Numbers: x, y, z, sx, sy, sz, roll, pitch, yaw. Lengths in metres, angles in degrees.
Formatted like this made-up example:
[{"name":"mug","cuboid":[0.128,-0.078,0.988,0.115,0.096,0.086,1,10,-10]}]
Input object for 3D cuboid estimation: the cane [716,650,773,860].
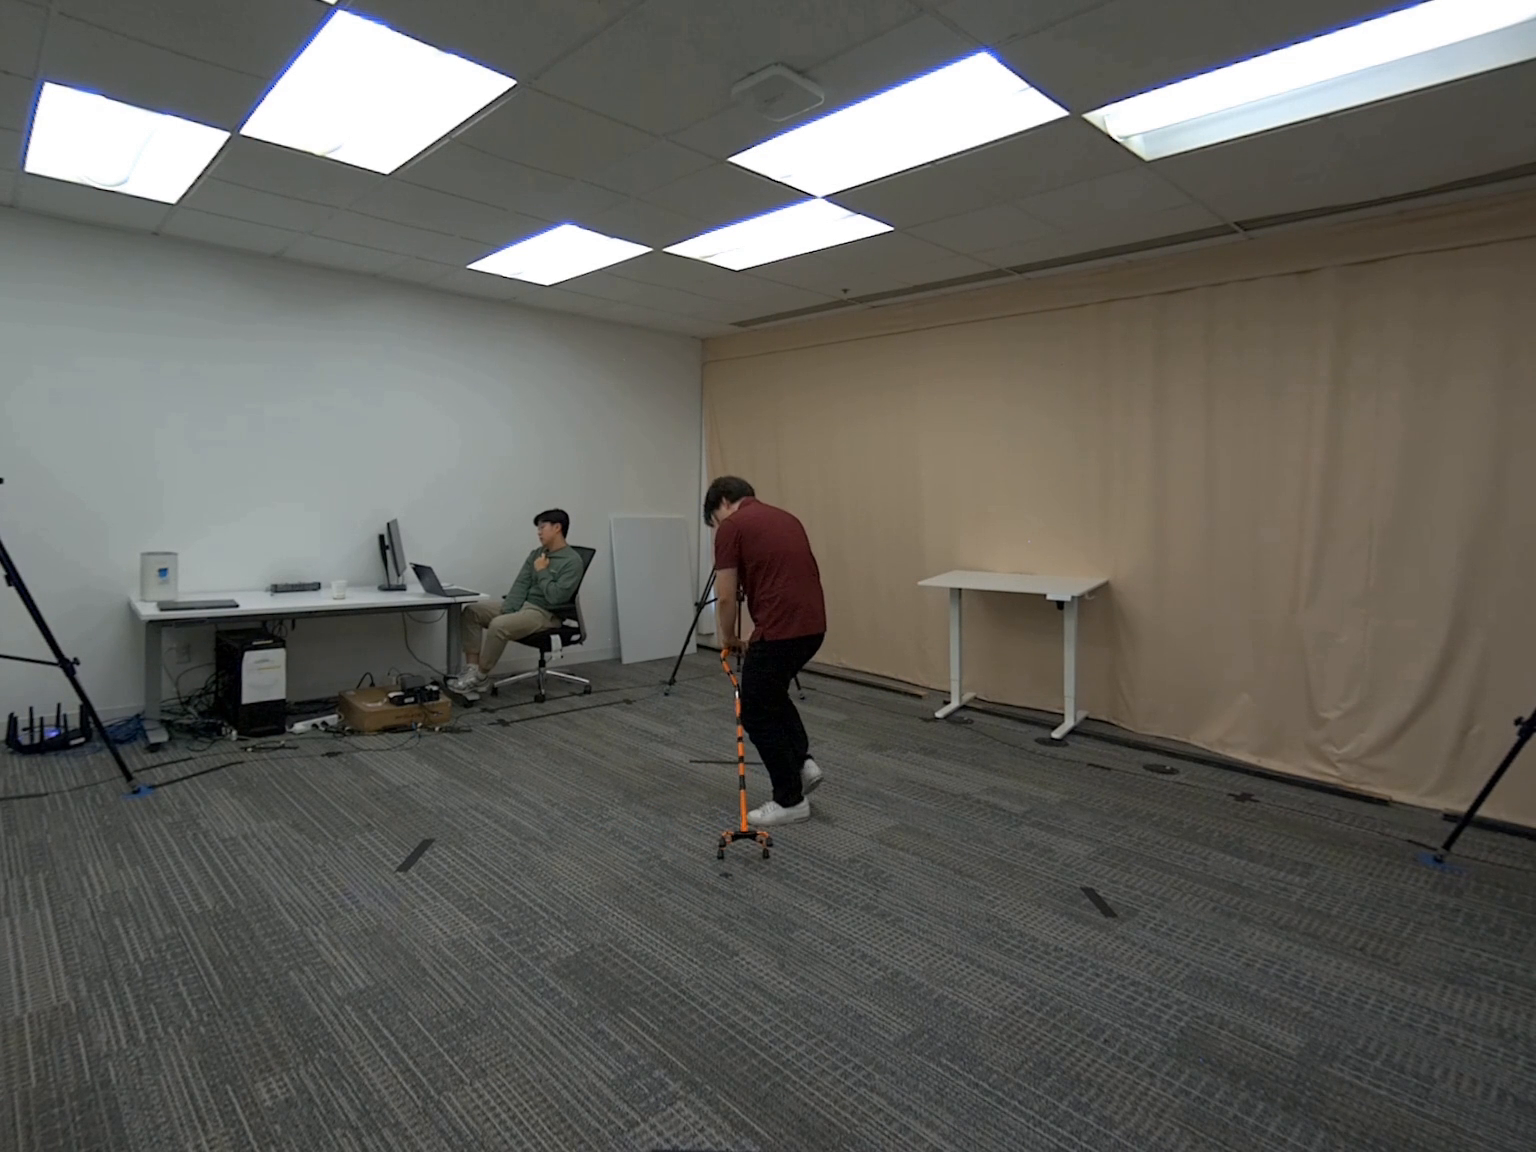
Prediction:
[{"name":"cane","cuboid":[-0.130,0.688,3.478,0.205,0.930,0.149,-1,-38,-7]}]
